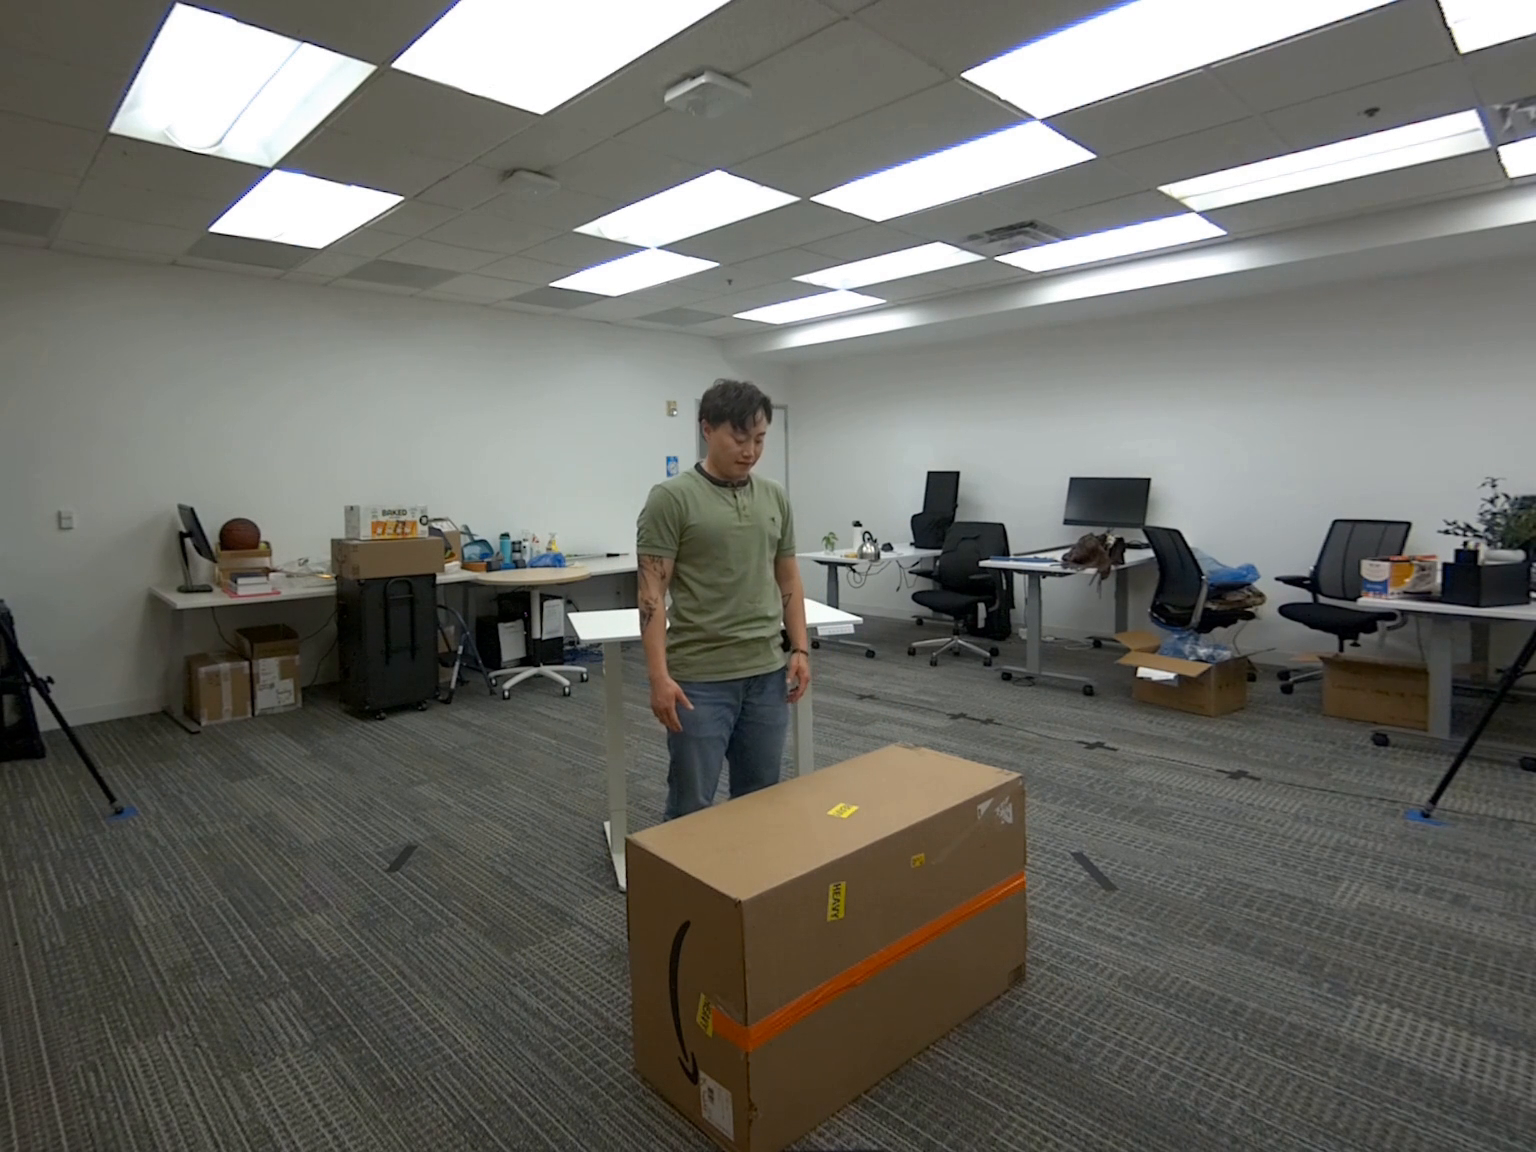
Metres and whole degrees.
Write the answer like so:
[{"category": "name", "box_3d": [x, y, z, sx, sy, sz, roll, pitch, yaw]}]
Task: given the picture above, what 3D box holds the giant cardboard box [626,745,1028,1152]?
[{"category": "giant cardboard box", "box_3d": [0.193, 0.863, 2.182, 1.000, 0.575, 0.439, -7, 7, -41]}]
